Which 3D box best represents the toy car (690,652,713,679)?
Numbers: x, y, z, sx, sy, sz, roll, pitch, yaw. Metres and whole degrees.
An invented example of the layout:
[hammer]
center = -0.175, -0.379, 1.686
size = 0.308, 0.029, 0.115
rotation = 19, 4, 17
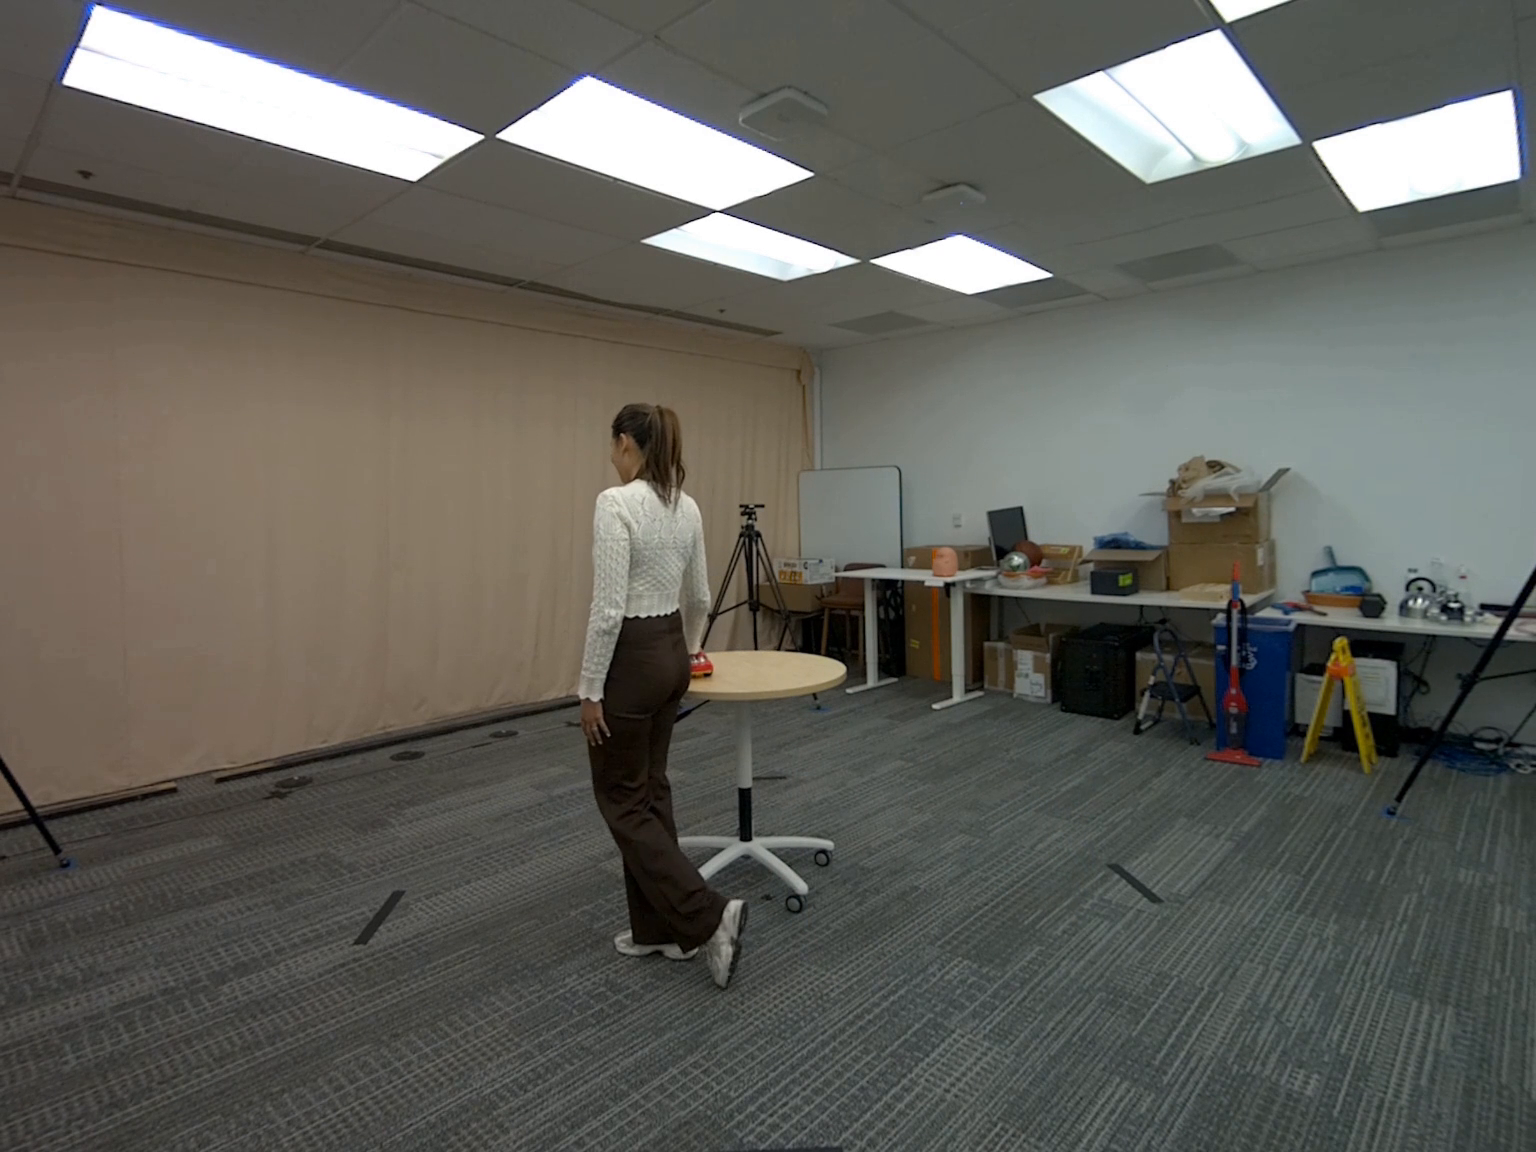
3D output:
[toy car]
center = -0.274, 0.325, 3.040
size = 0.127, 0.083, 0.258
rotation = -2, -6, -22
